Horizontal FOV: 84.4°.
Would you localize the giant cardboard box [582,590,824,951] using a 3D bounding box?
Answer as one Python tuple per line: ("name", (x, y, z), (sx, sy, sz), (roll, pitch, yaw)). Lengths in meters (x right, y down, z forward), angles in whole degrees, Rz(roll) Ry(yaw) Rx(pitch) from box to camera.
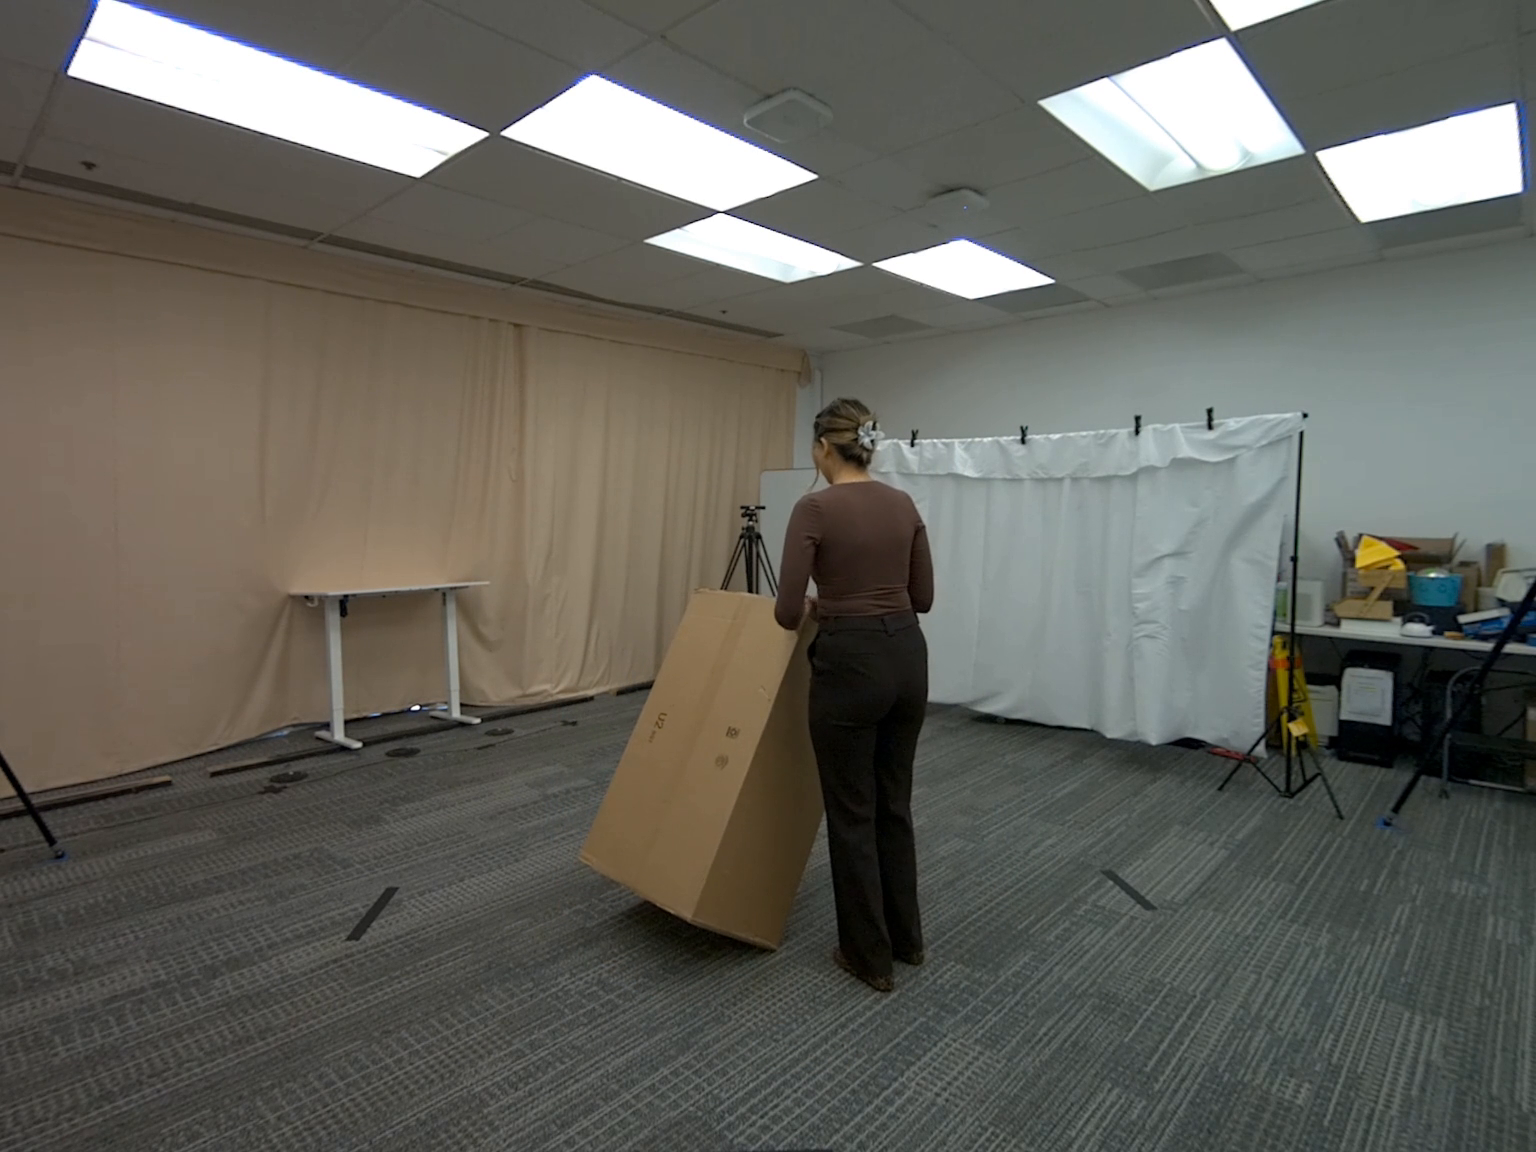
("giant cardboard box", (-0.112, 0.612, 2.877), (0.603, 1.029, 0.431), (4, -26, 46))
